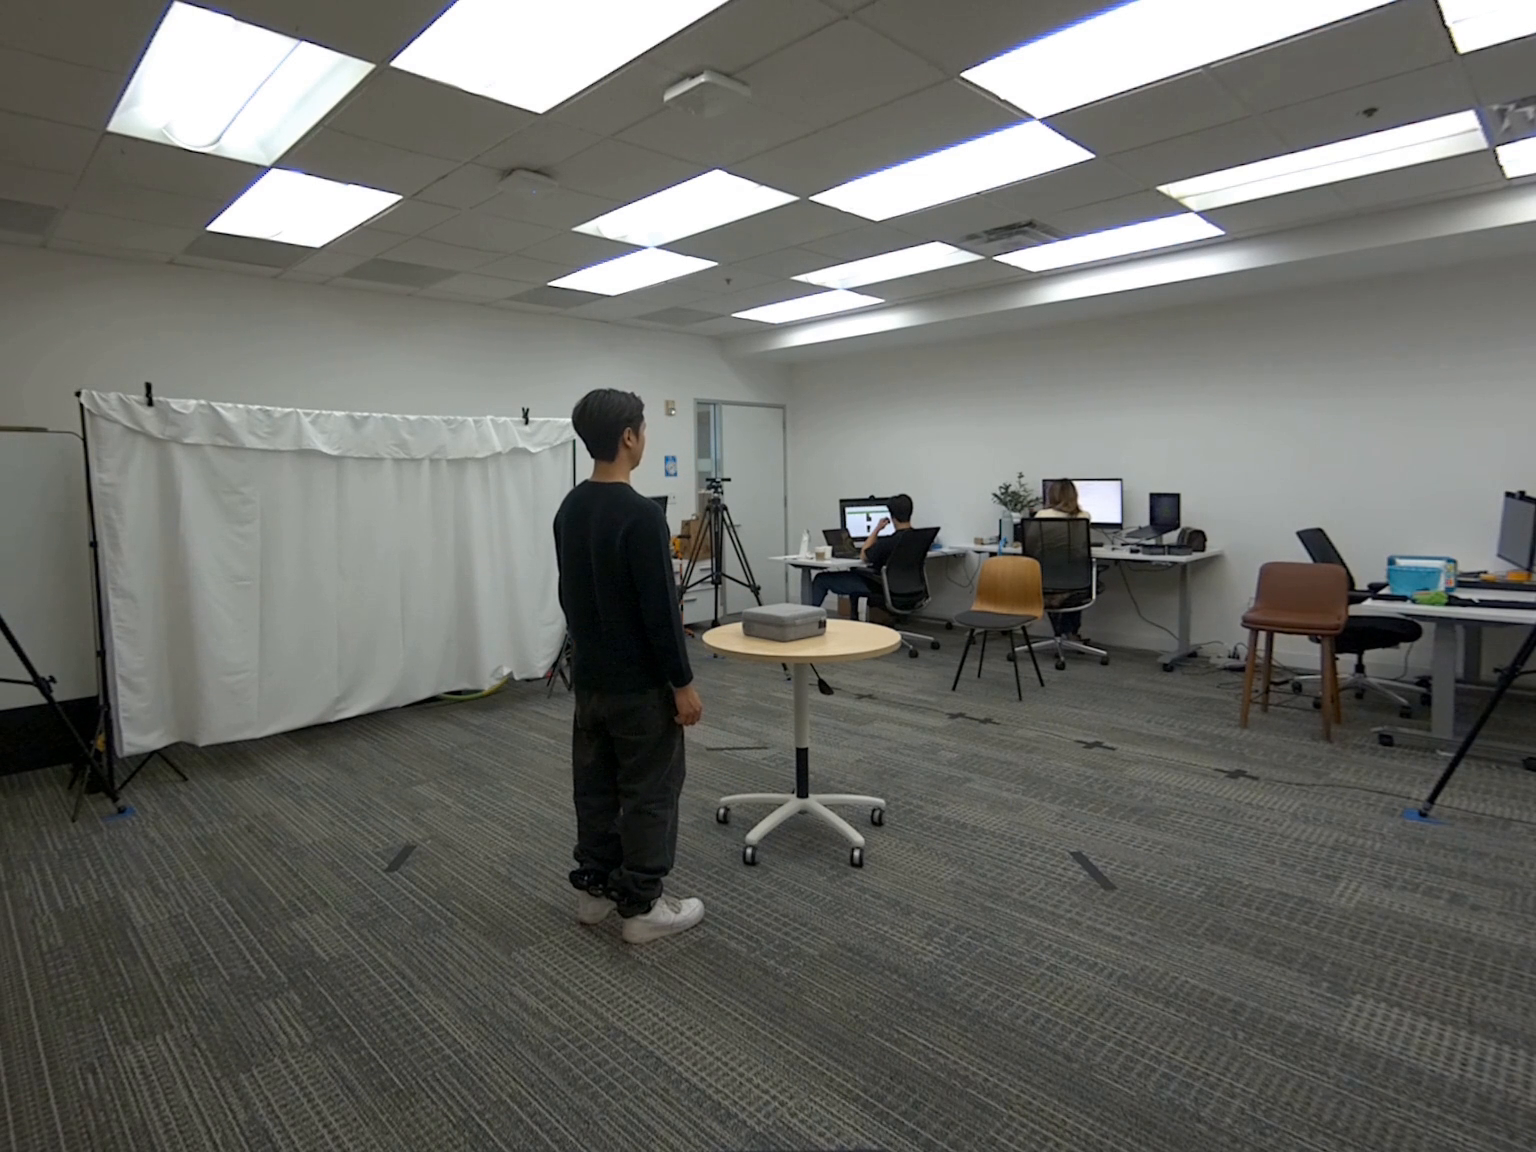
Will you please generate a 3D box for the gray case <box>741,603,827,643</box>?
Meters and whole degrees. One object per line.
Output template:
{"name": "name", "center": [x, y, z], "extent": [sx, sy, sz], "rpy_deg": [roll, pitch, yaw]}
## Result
{"name": "gray case", "center": [0.056, 0.175, 3.337], "extent": [0.250, 0.104, 0.269], "rpy_deg": [-7, 8, -42]}
